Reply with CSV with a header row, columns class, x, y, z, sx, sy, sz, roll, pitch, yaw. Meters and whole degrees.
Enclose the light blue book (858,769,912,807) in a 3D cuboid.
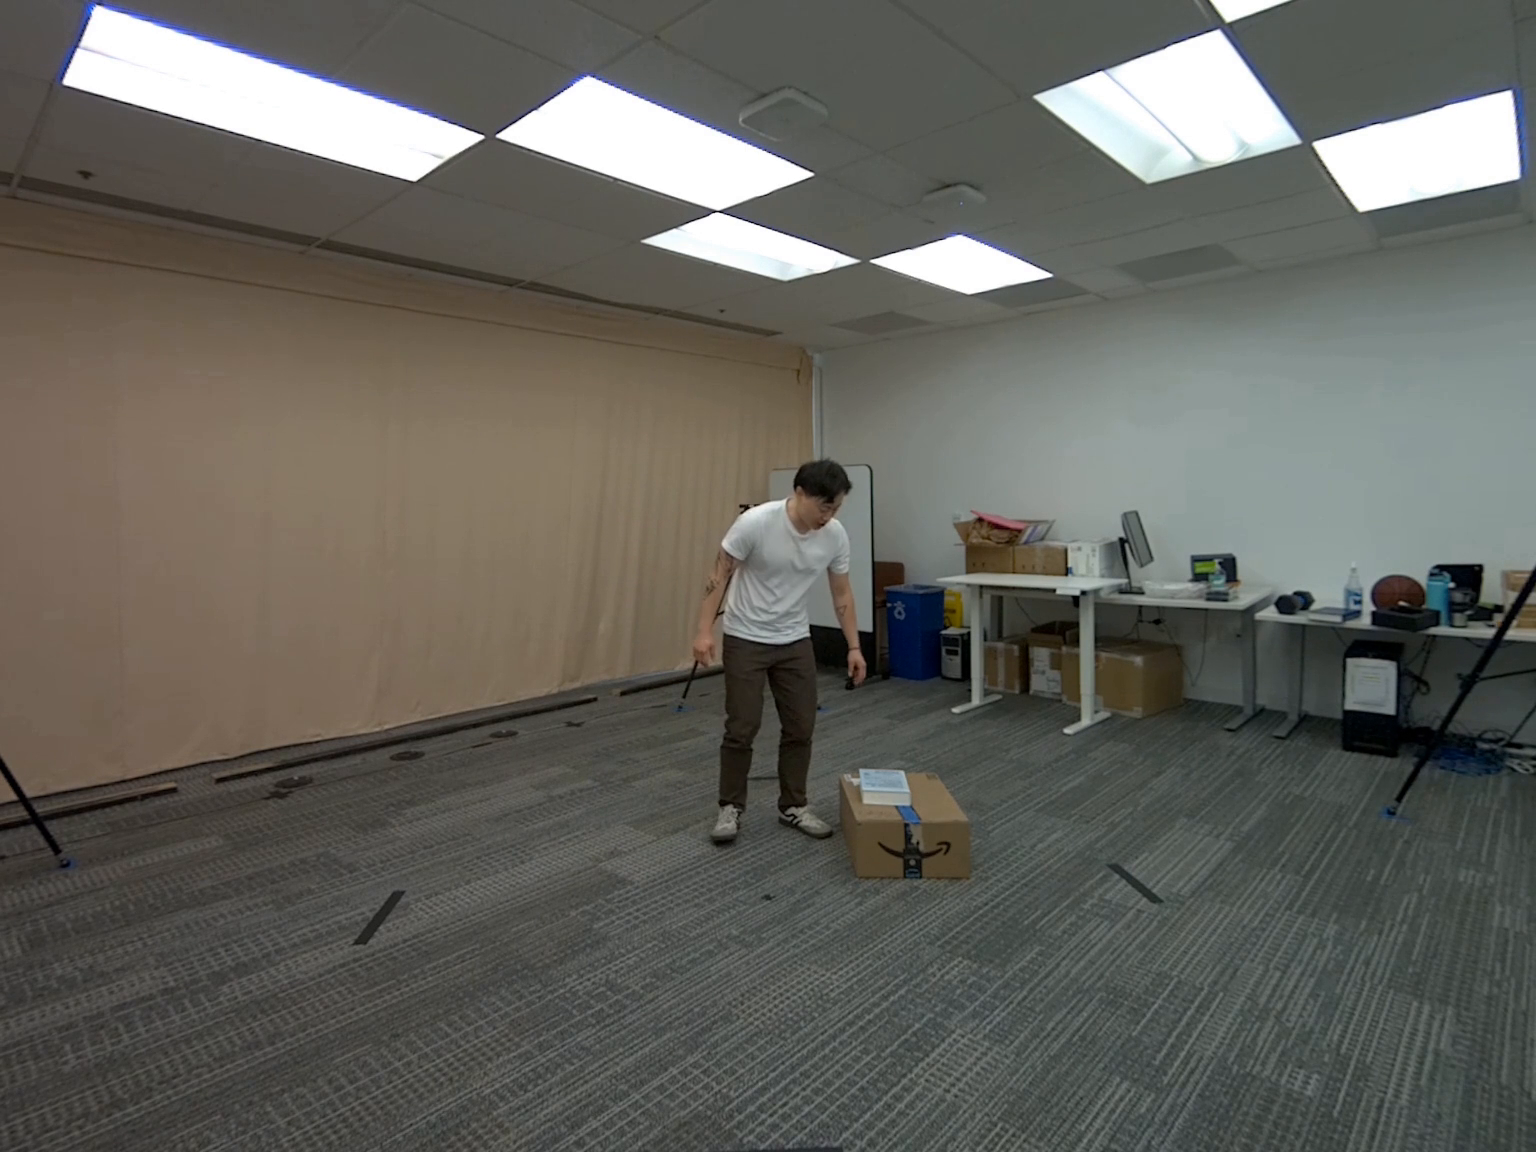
class,x,y,z,sx,sy,sz,roll,pitch,yaw
light blue book,0.483,0.860,3.427,0.192,0.059,0.260,0,5,4
